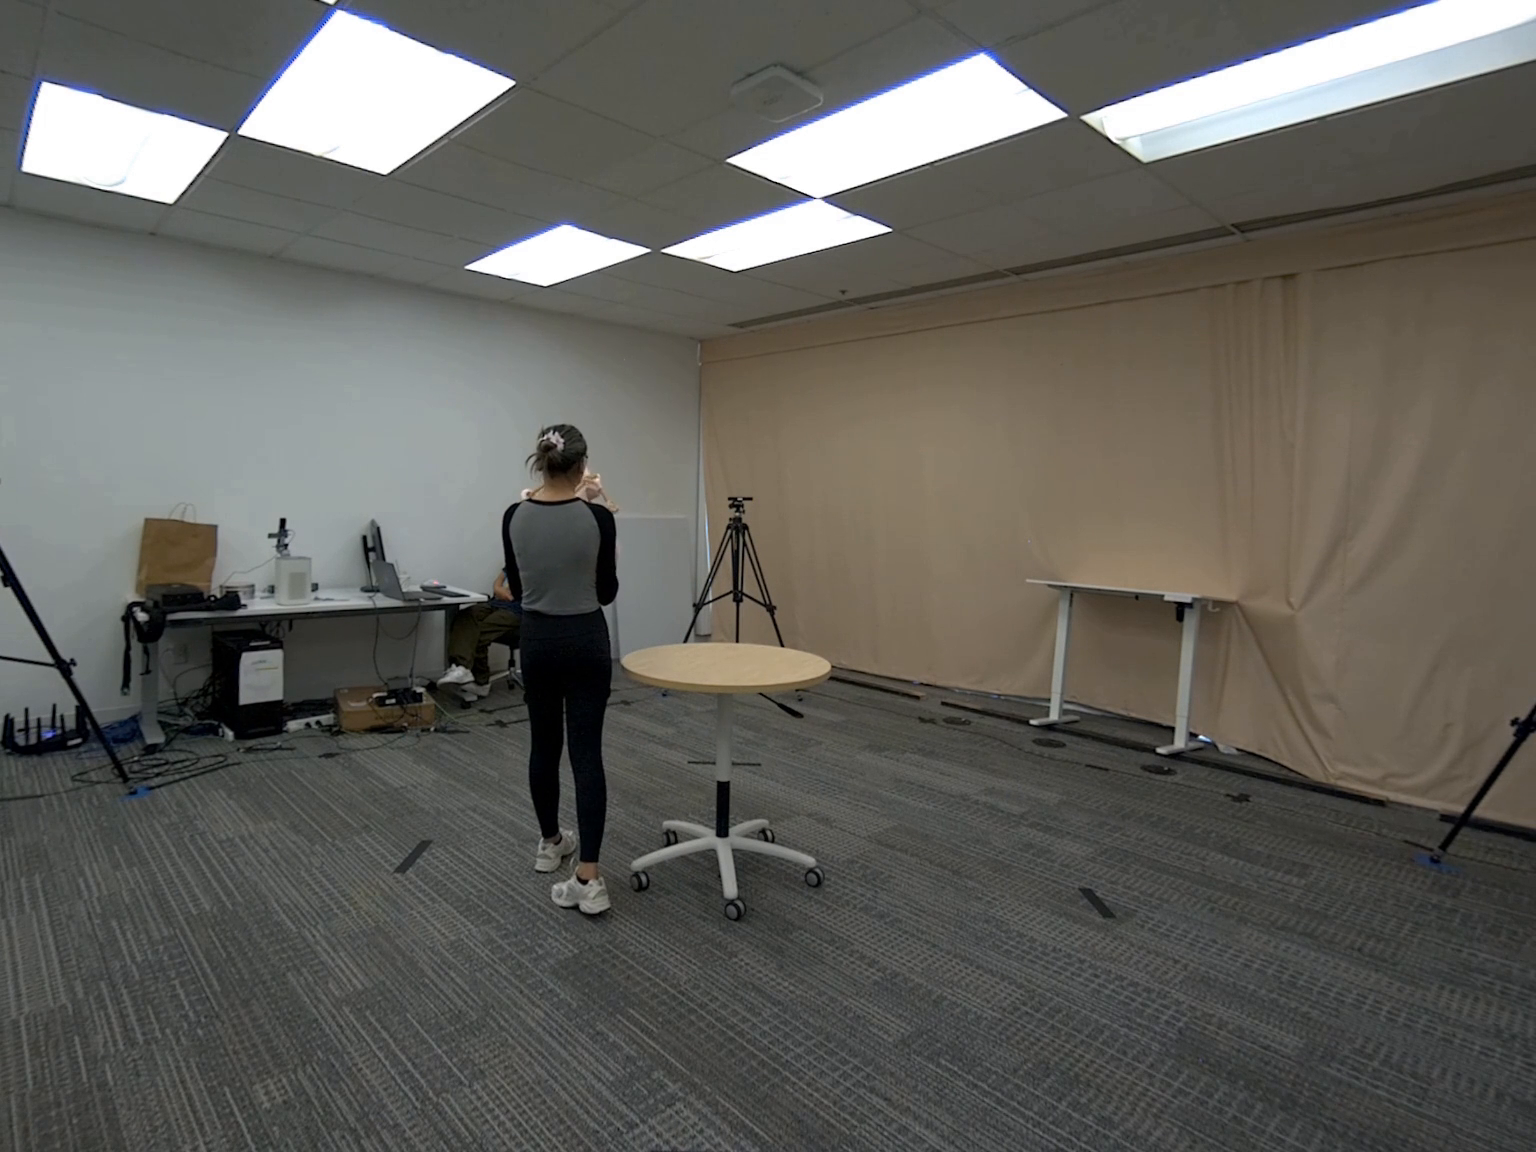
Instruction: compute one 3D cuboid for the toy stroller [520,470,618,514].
[{"bbox_3d":[-0.757,-0.226,3.397,0.283,0.541,0.335,-30,-11,22],"label":"toy stroller"}]
